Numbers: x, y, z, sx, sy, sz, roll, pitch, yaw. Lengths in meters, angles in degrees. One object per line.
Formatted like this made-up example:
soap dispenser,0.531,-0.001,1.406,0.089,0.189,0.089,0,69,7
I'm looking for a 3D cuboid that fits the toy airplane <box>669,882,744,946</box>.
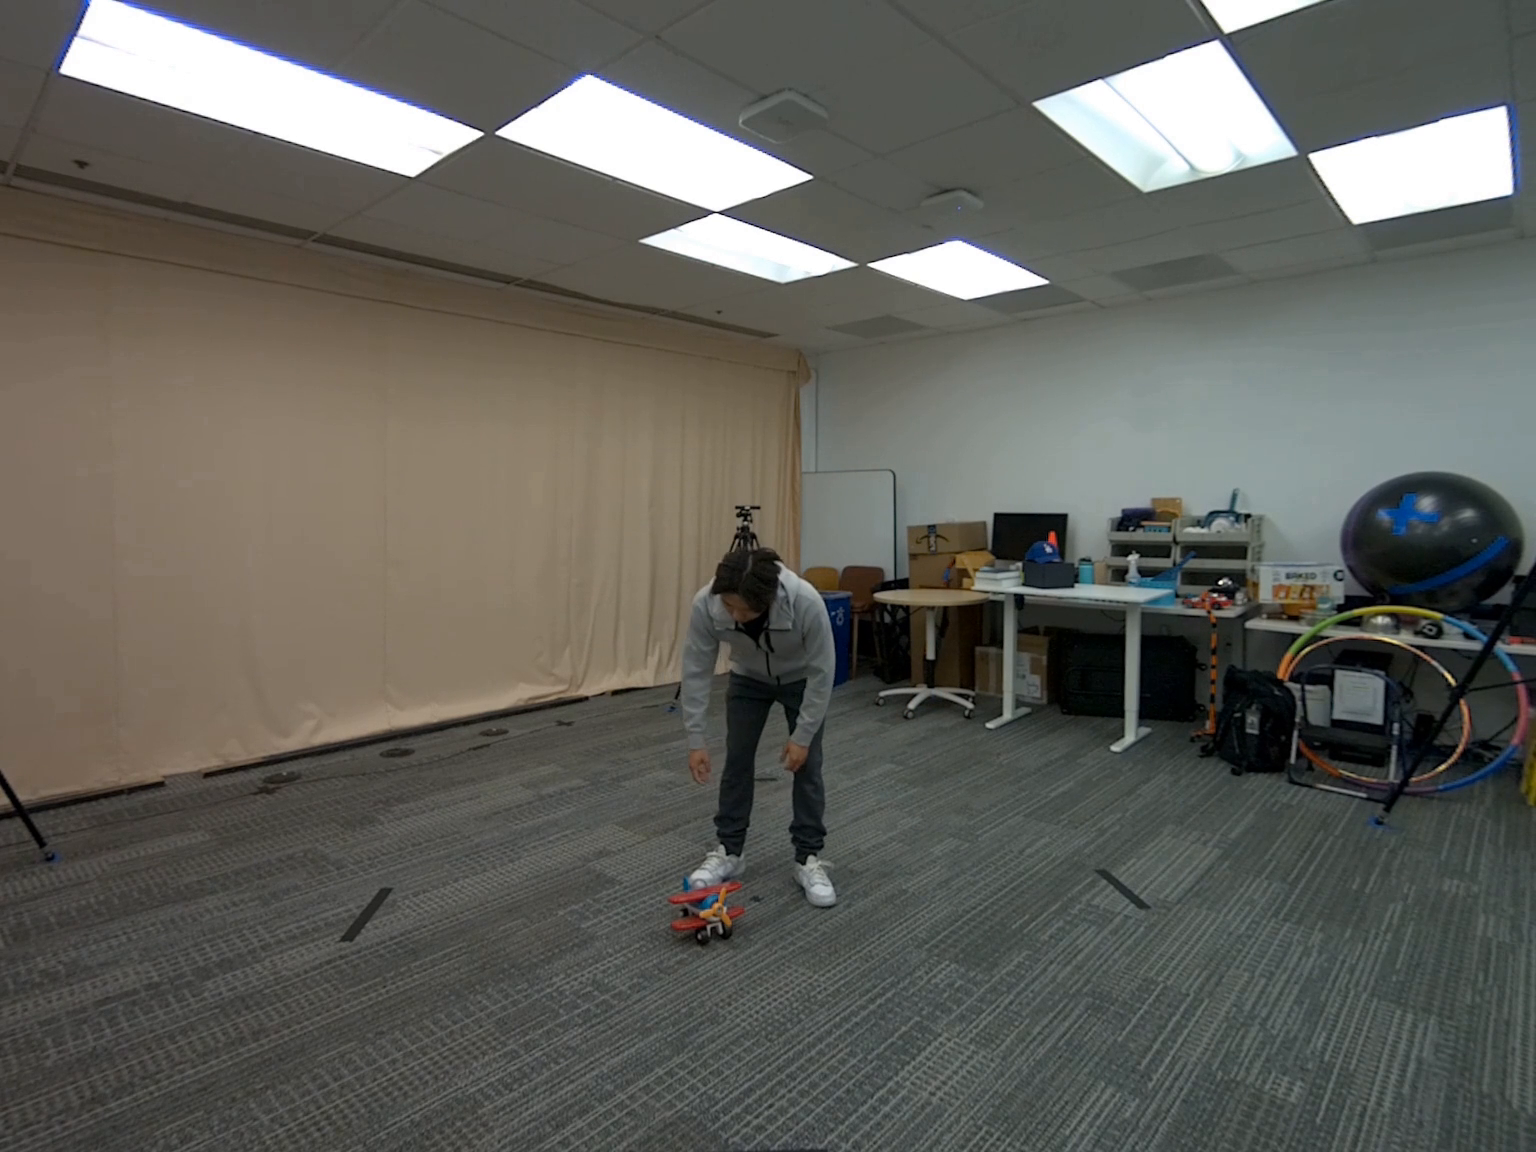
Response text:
toy airplane,-0.231,1.086,2.757,0.267,0.156,0.244,3,5,32
